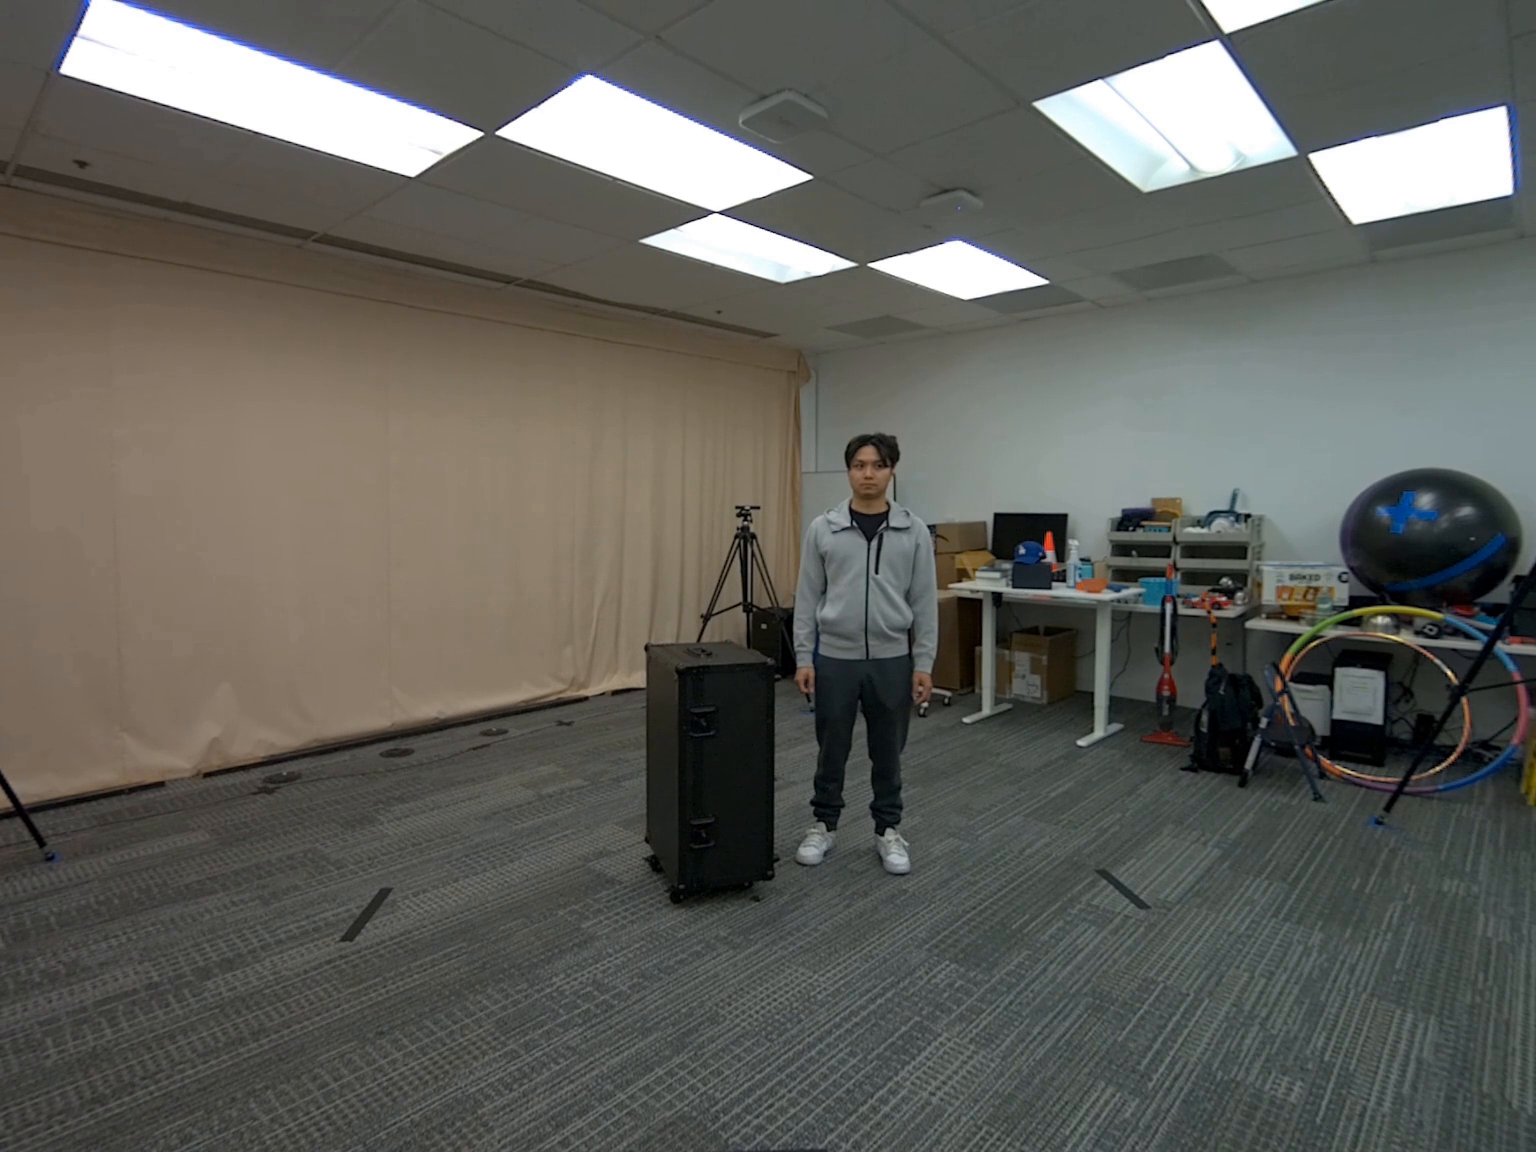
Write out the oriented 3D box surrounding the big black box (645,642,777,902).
[{"bbox_3d":[-0.223,0.704,3.140,0.388,0.860,0.533,0,2,-21],"label":"big black box"}]
